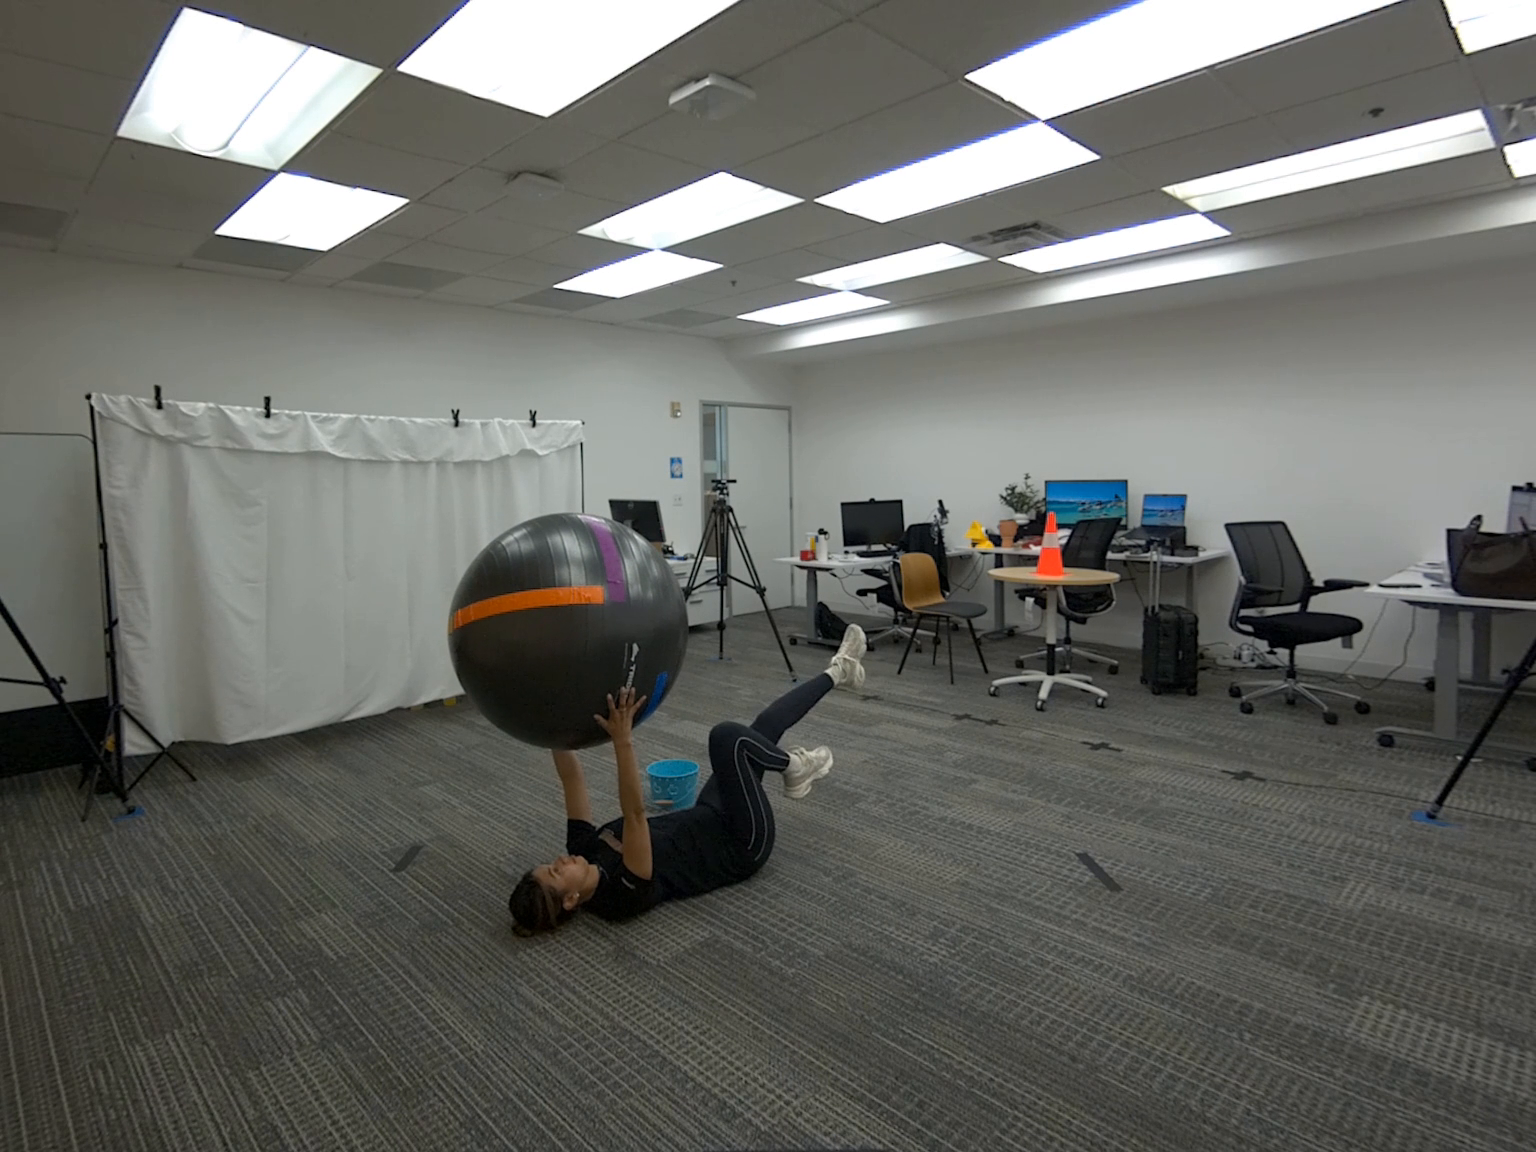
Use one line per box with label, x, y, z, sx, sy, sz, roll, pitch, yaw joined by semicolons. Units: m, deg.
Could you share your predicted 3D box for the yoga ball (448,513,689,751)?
yoga ball;-0.638;0.175;2.764;0.757;0.757;0.759;0;1;-2
